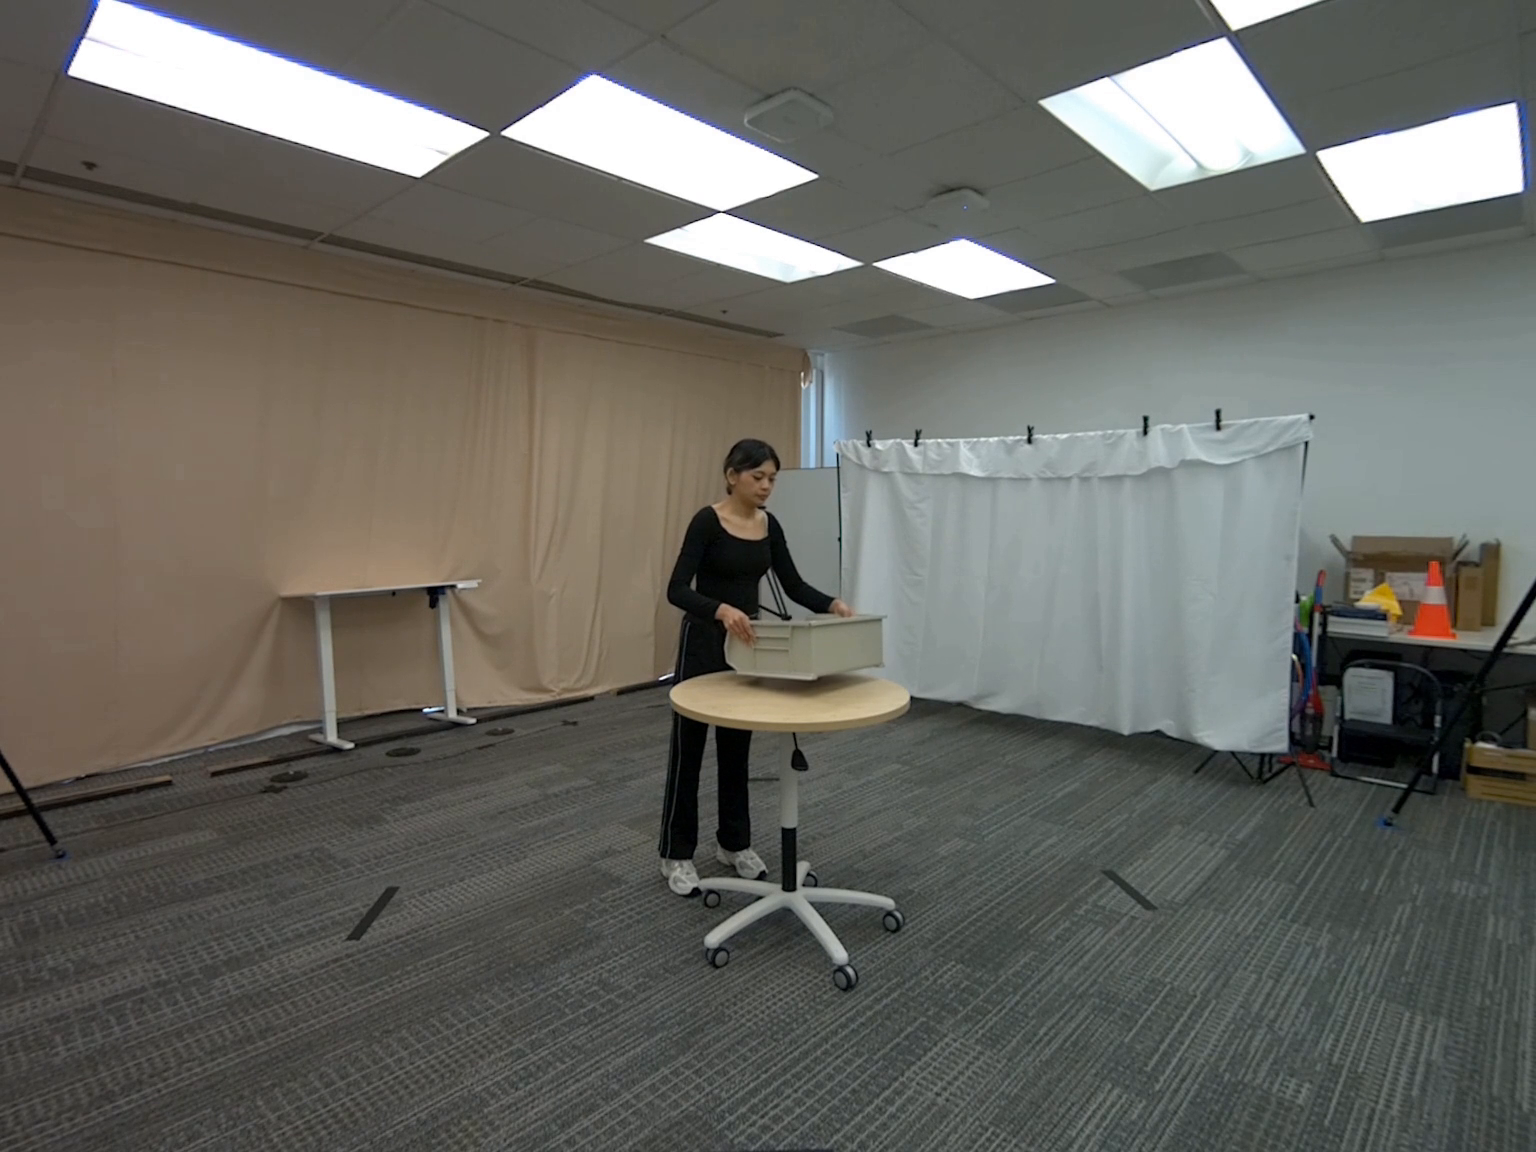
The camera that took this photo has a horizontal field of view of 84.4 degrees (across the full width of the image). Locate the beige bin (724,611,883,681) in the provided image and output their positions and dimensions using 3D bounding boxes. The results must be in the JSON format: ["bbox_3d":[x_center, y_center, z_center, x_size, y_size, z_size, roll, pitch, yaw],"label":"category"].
[{"bbox_3d":[0.127,0.228,2.851,0.390,0.189,0.409,2,1,44],"label":"beige bin"}]
